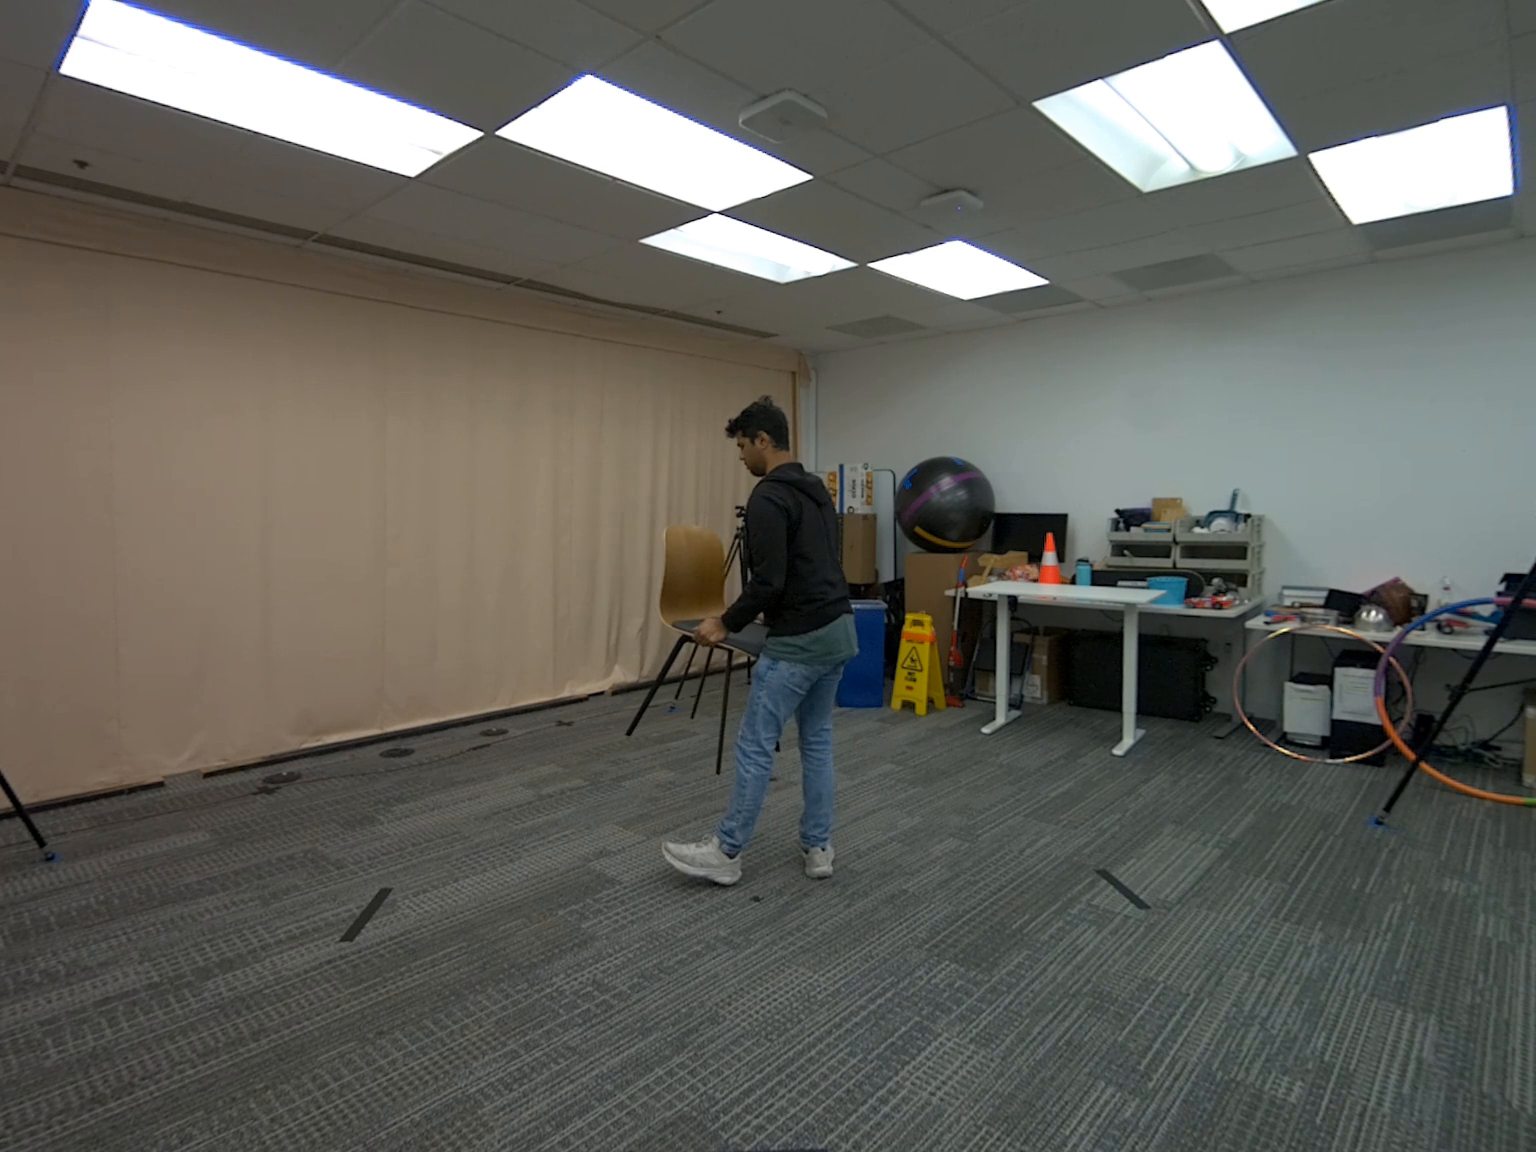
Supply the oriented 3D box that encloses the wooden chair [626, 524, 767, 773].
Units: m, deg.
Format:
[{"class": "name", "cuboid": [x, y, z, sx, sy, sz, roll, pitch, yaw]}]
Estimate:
[{"class": "wooden chair", "cuboid": [-0.174, 0.270, 3.326, 0.540, 0.876, 0.464, 10, 4, 32]}]
